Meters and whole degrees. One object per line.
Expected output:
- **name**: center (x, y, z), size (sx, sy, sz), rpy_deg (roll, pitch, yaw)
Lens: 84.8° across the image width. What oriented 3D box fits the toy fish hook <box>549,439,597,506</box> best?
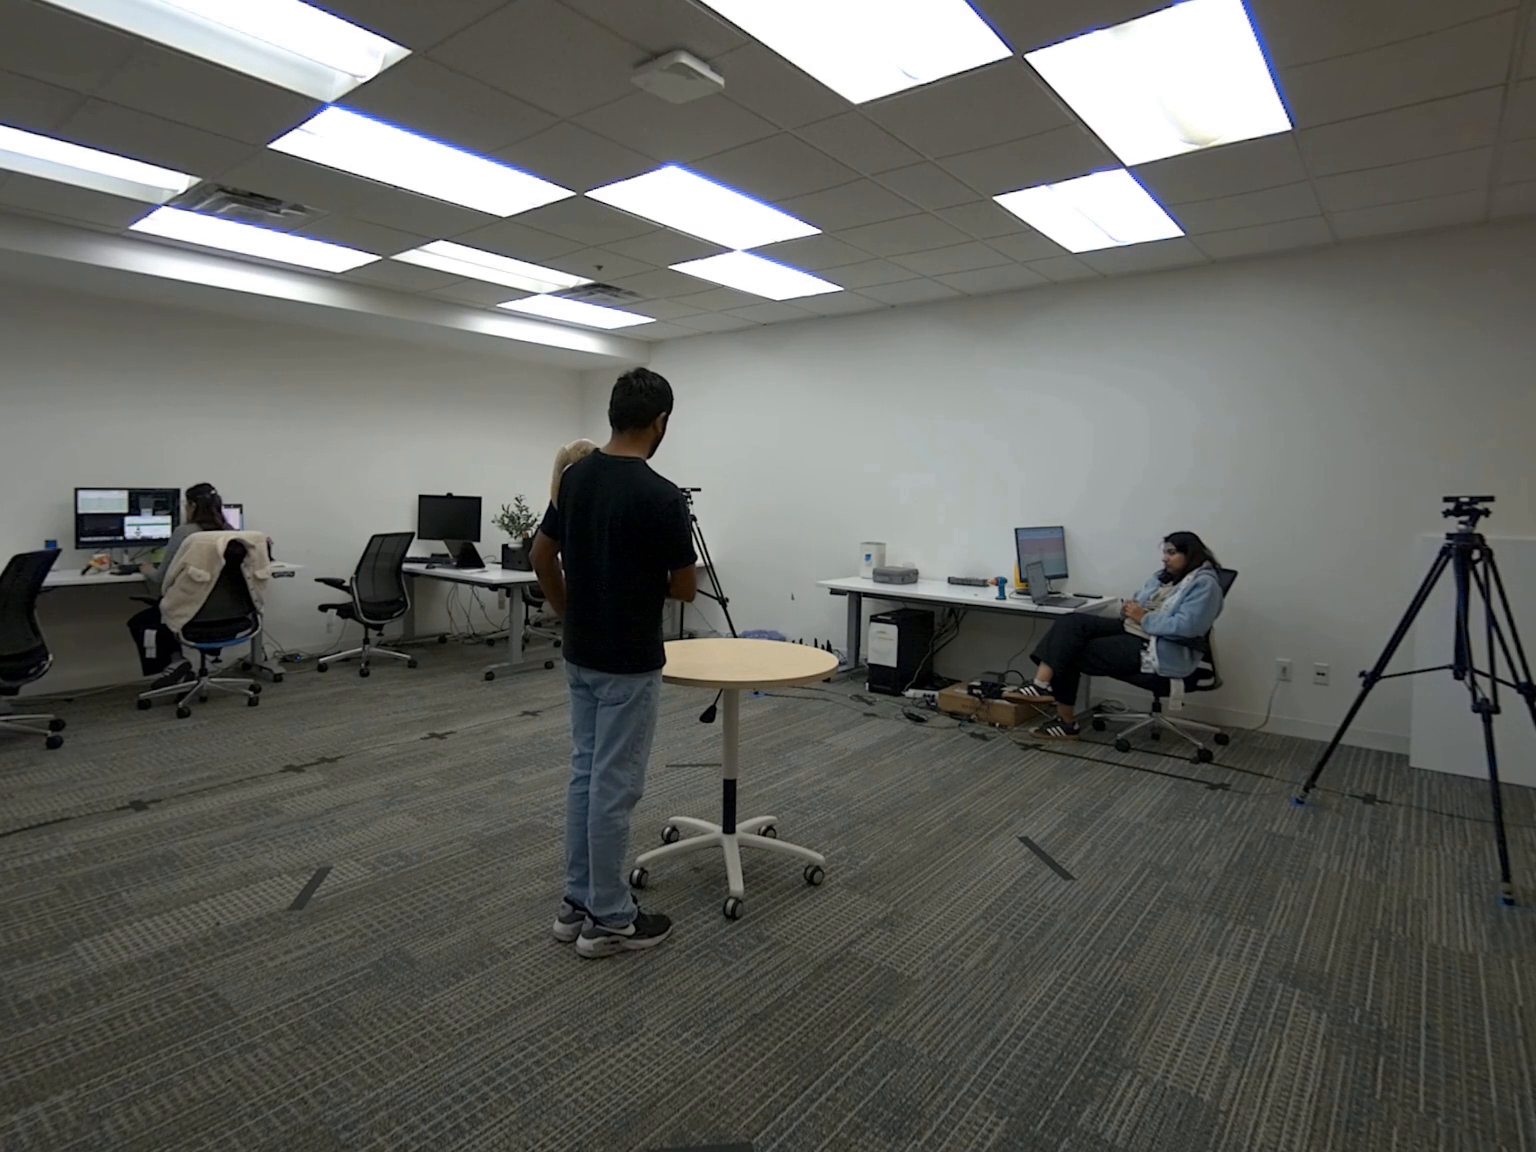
- **toy fish hook**: center (-0.584, -0.176, 2.659), size (0.050, 0.496, 0.221), rpy_deg (15, 29, 41)
